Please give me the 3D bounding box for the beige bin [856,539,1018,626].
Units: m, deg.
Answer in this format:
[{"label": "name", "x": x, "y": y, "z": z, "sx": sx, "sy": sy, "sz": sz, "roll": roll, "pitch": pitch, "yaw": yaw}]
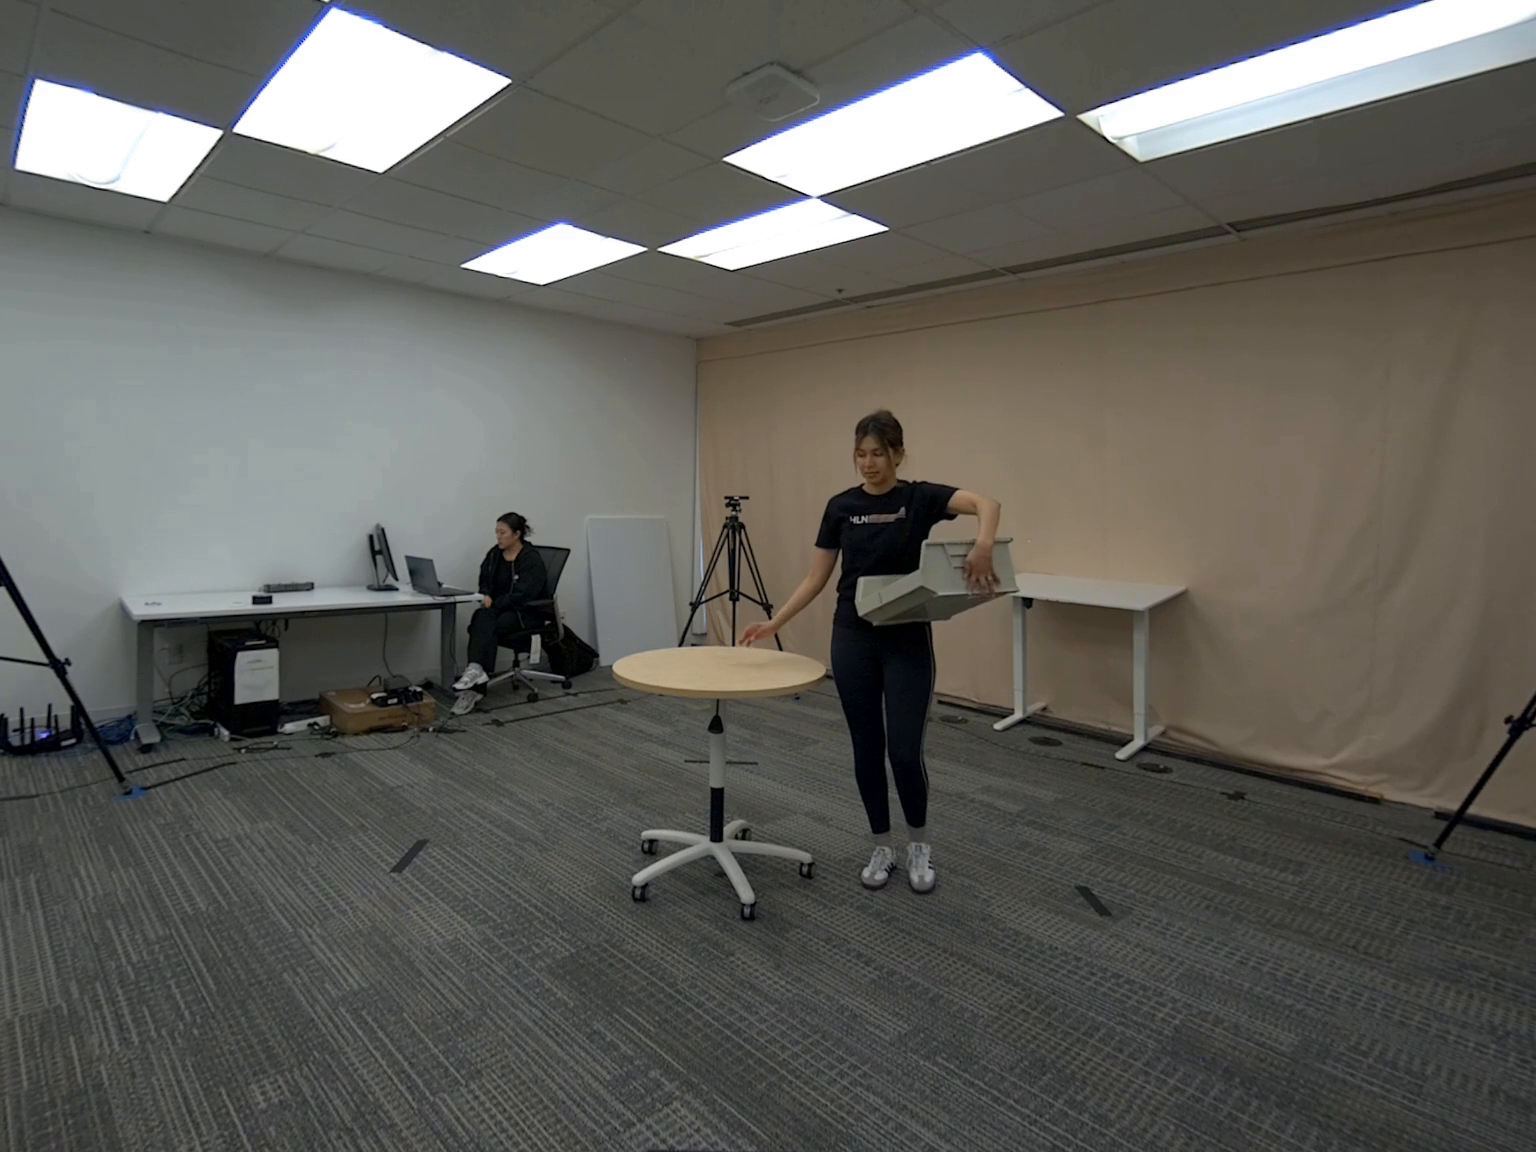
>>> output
[{"label": "beige bin", "x": 0.549, "y": 0.027, "z": 2.826, "sx": 0.371, "sy": 0.191, "sz": 0.423, "roll": -1, "pitch": -16, "yaw": -23}]
